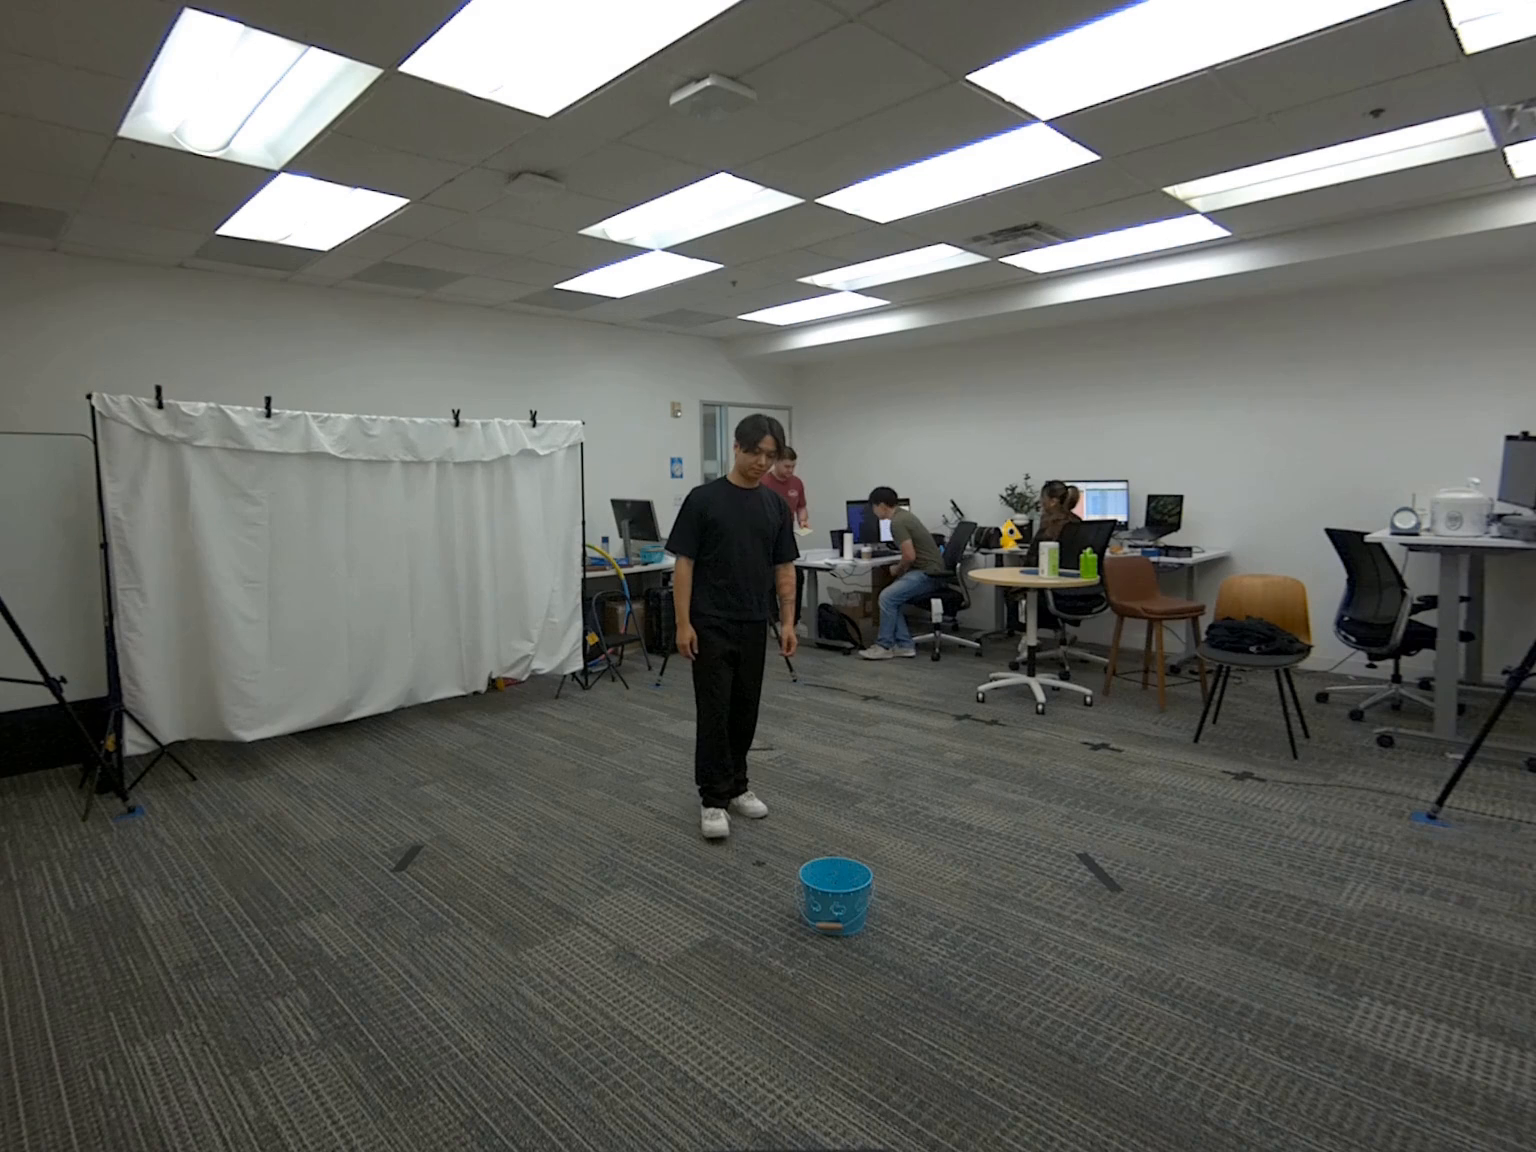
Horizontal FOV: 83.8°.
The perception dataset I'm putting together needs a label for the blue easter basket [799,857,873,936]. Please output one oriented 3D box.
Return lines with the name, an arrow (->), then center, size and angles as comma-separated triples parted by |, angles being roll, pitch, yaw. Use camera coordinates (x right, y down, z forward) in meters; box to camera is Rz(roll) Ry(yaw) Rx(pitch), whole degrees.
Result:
blue easter basket -> 0.216, 1.014, 2.693 | 0.243, 0.155, 0.245 | -1, 5, -2
